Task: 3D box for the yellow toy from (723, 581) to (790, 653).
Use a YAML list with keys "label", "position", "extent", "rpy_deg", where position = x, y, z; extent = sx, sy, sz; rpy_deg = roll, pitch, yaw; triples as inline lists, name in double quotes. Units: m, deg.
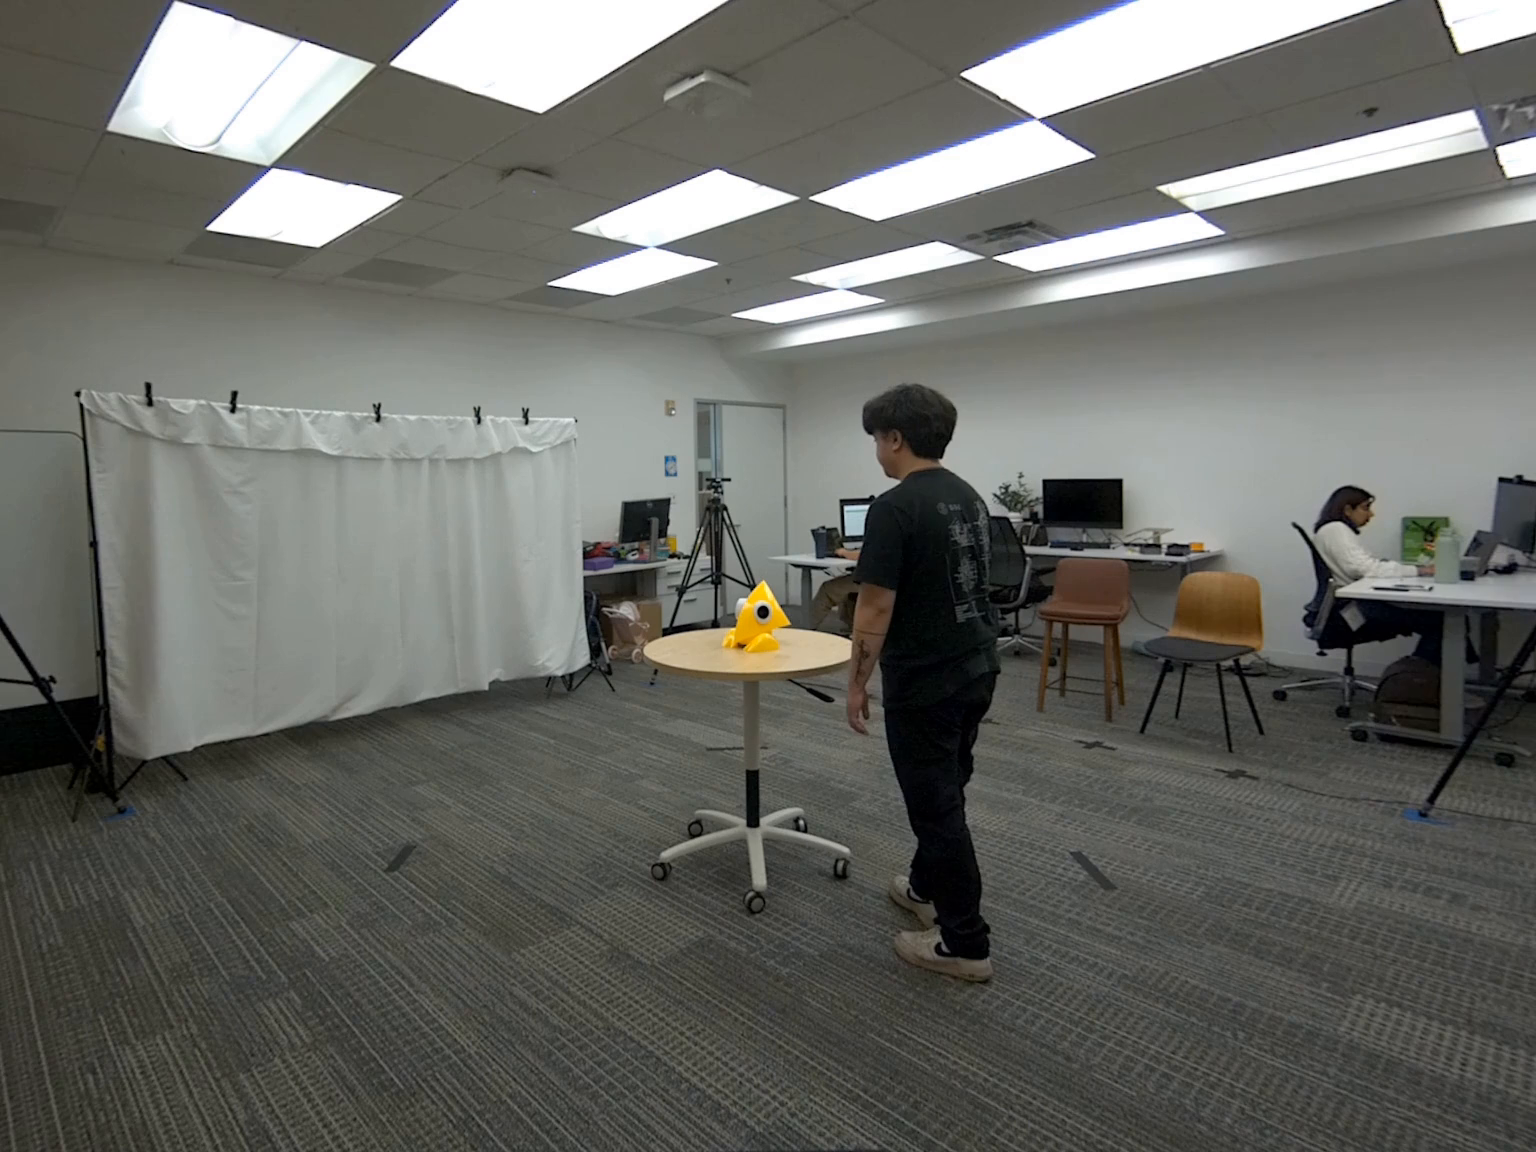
- label: "yellow toy"
  position: [-0.054, 0.140, 3.062]
  extent: [0.211, 0.229, 0.188]
  rpy_deg: [5, 8, 45]
